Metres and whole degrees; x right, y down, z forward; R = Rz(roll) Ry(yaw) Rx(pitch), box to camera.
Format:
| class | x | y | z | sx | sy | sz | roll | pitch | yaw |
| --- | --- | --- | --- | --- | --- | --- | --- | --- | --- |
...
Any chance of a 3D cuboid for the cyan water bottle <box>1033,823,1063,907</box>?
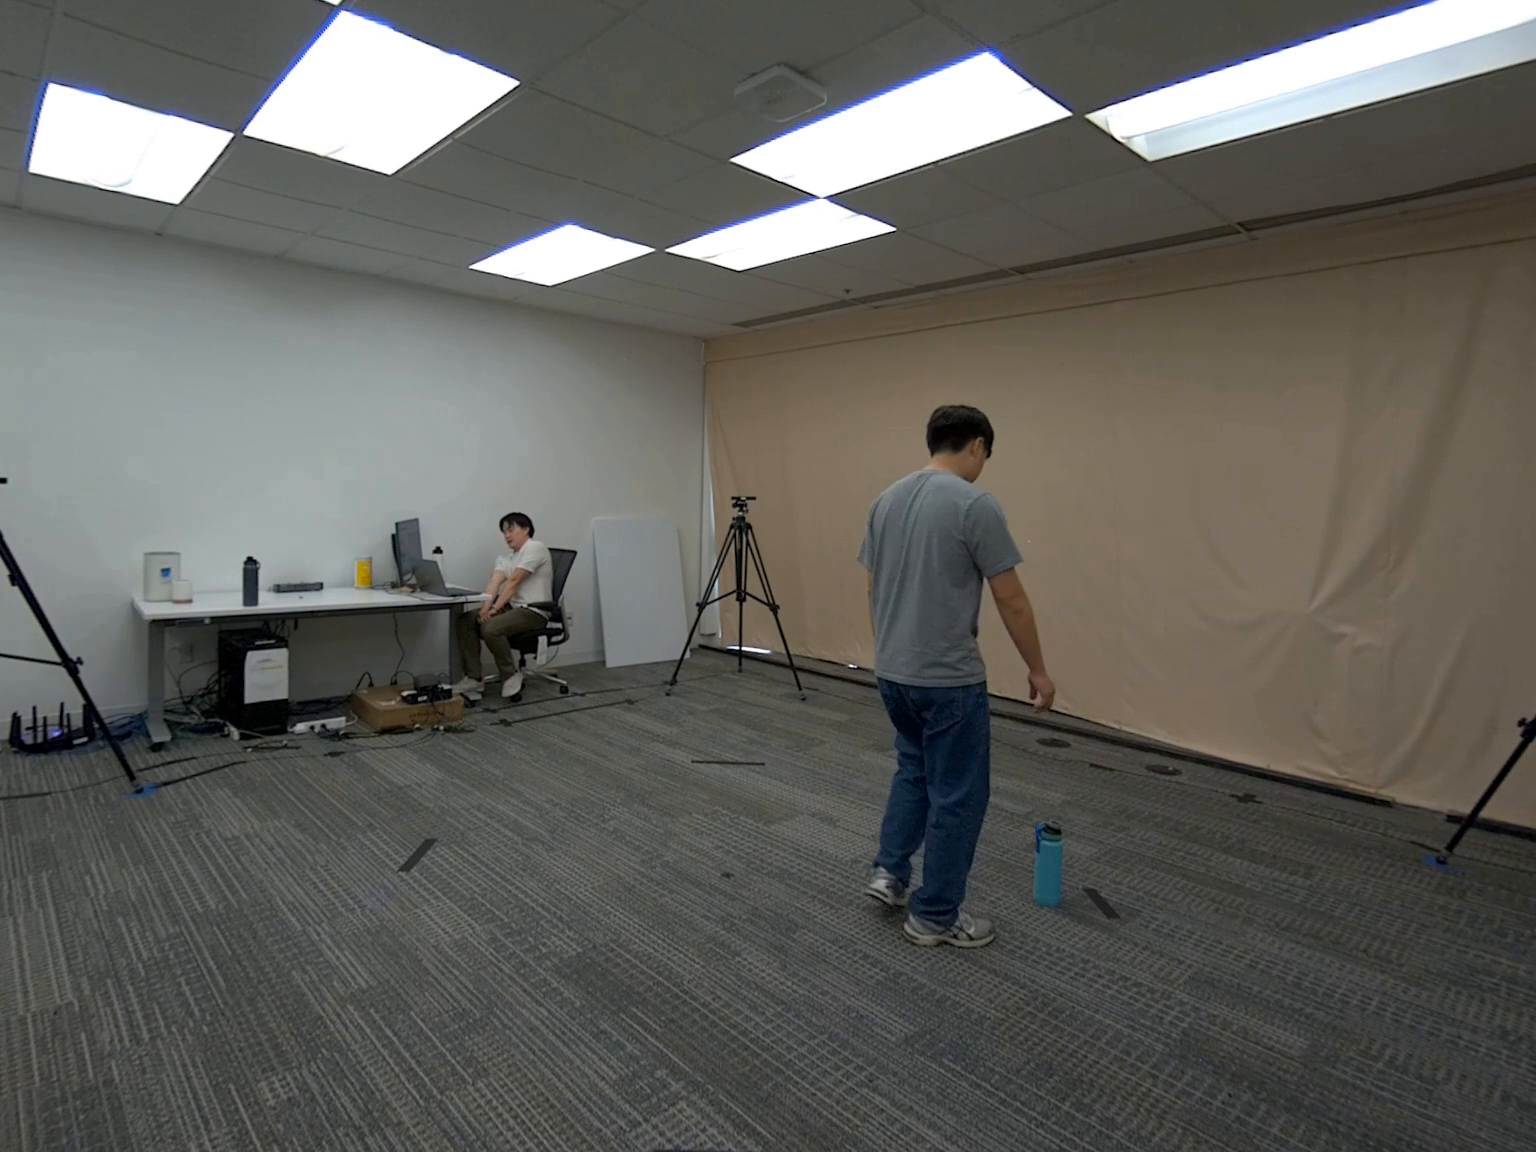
| class | x | y | z | sx | sy | sz | roll | pitch | yaw |
| --- | --- | --- | --- | --- | --- | --- | --- | --- | --- |
| cyan water bottle | 0.982 | 1.007 | 2.971 | 0.092 | 0.283 | 0.092 | 2 | 3 | -1 |
